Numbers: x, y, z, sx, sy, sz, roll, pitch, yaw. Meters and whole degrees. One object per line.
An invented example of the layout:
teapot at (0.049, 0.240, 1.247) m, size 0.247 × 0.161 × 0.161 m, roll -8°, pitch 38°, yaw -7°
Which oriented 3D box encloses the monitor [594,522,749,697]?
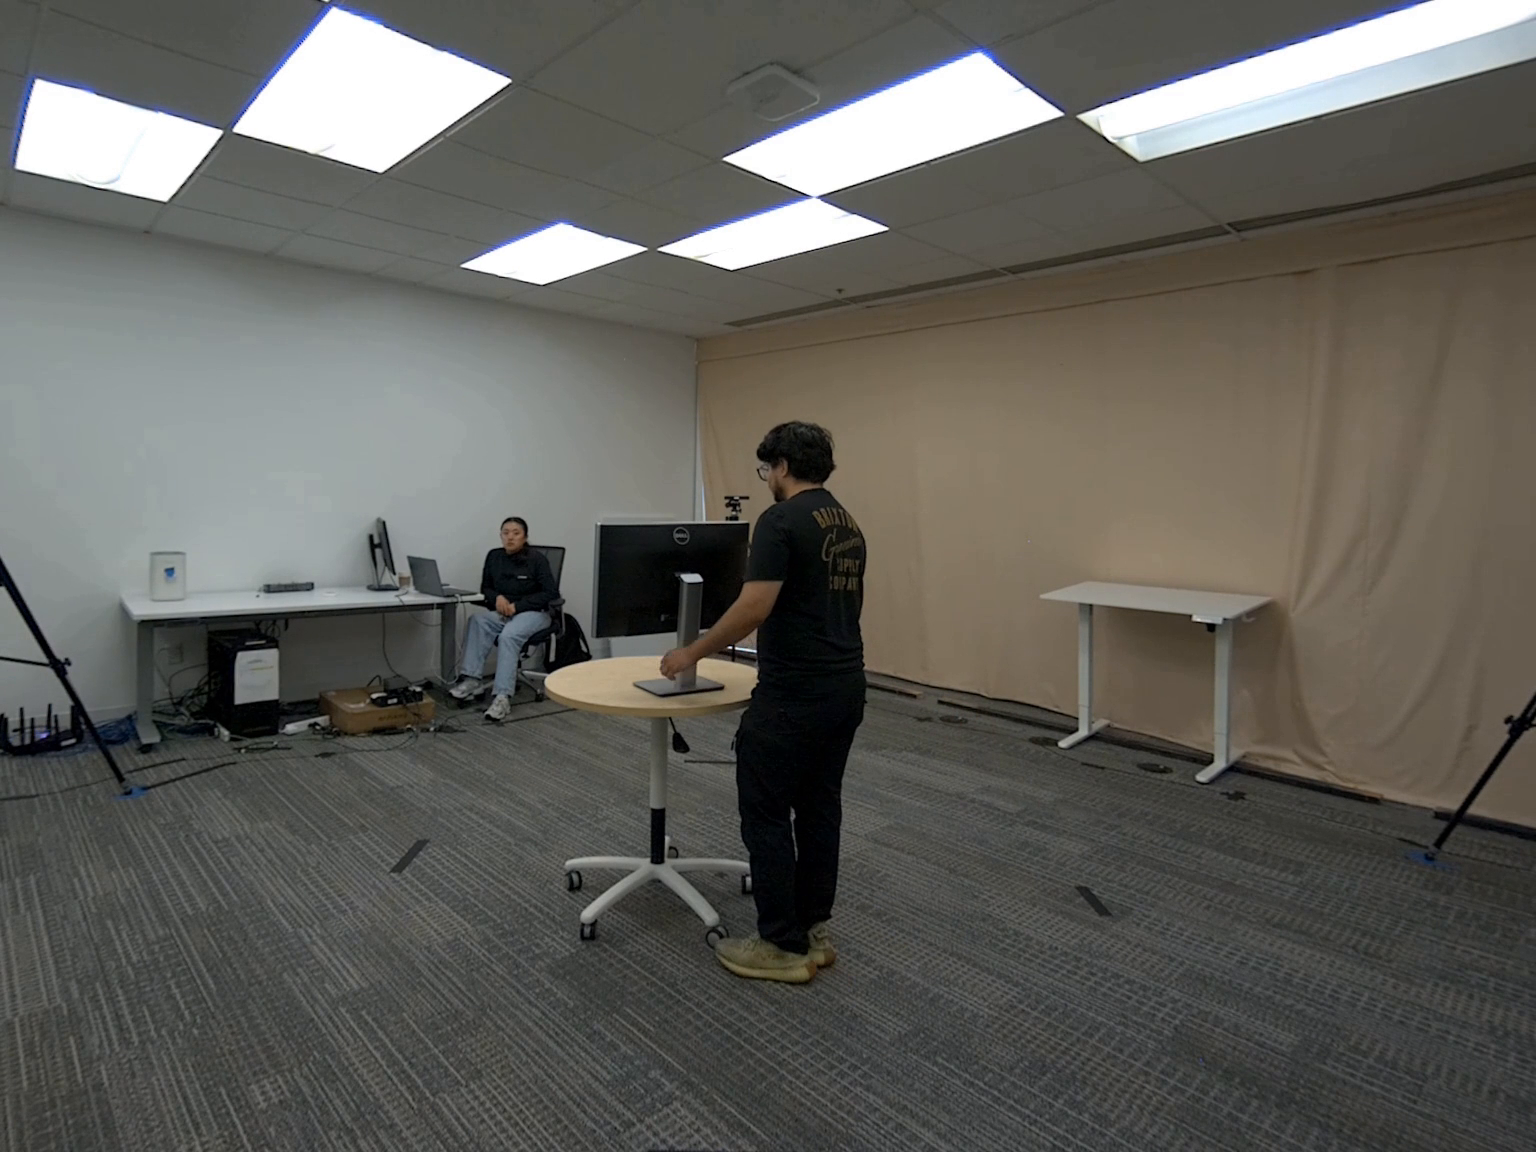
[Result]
monitor at (-0.273, 0.105, 2.687) m, size 0.553 × 0.551 × 0.215 m, roll -2°, pitch 7°, yaw -33°
